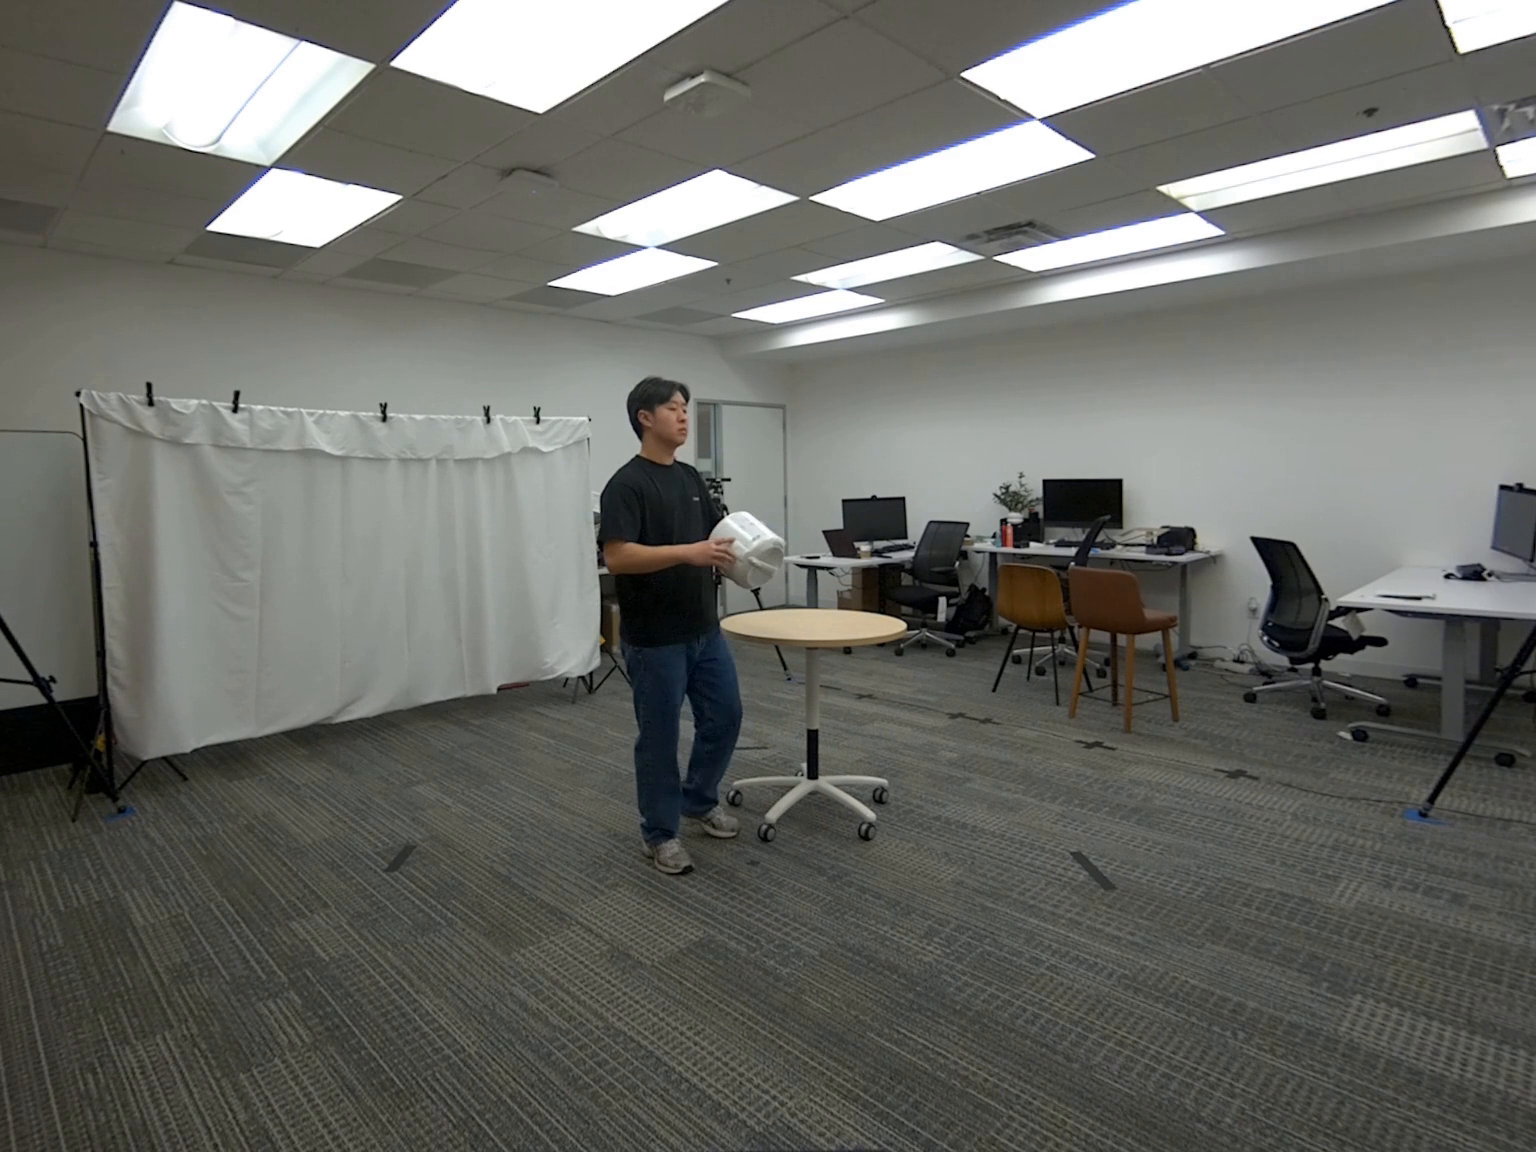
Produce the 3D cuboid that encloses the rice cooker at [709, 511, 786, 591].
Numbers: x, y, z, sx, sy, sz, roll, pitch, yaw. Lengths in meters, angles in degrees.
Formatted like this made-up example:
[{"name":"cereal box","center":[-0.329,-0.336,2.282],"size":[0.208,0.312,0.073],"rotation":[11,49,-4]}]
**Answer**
[{"name":"rice cooker","center":[-0.066,-0.081,2.881],"size":[0.242,0.217,0.212],"rotation":[39,7,35]}]
